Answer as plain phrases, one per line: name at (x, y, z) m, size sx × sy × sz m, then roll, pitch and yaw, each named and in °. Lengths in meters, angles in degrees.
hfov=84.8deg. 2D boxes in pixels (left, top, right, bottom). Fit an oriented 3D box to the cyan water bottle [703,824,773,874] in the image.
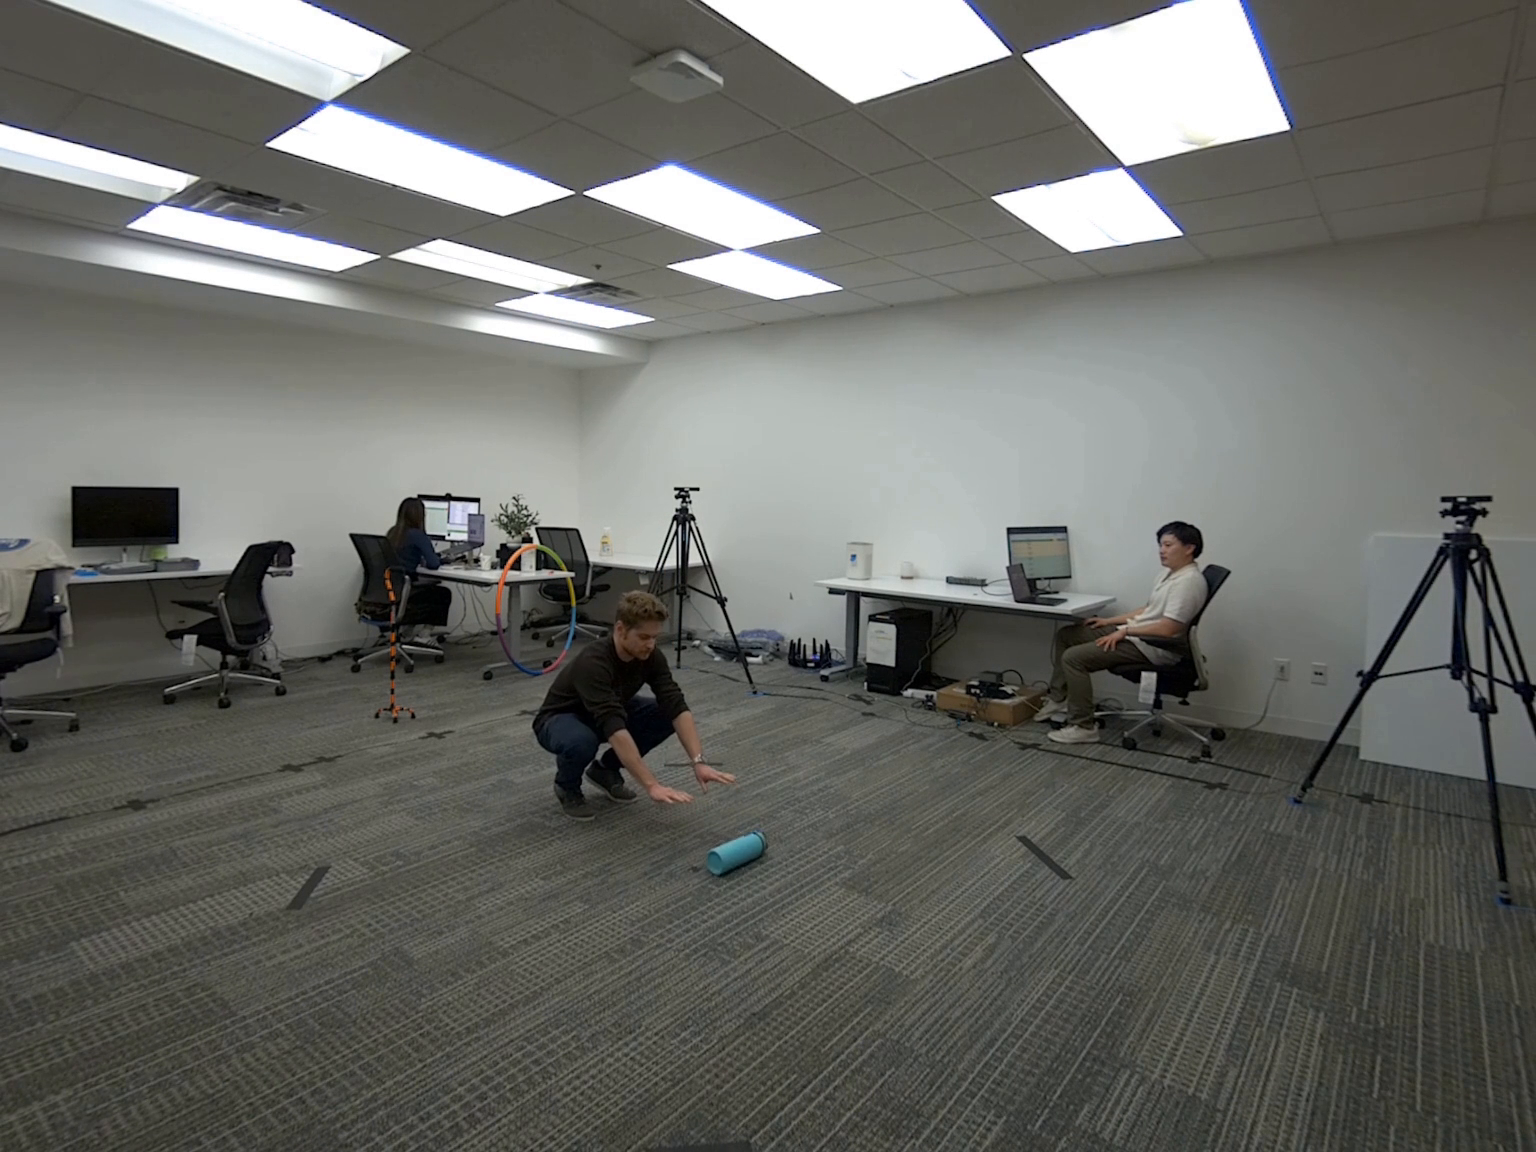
cyan water bottle at (-0.111, 1.016, 3.146) m, size 0.095 × 0.092 × 0.274 m, roll 4°, pitch 2°, yaw 40°
